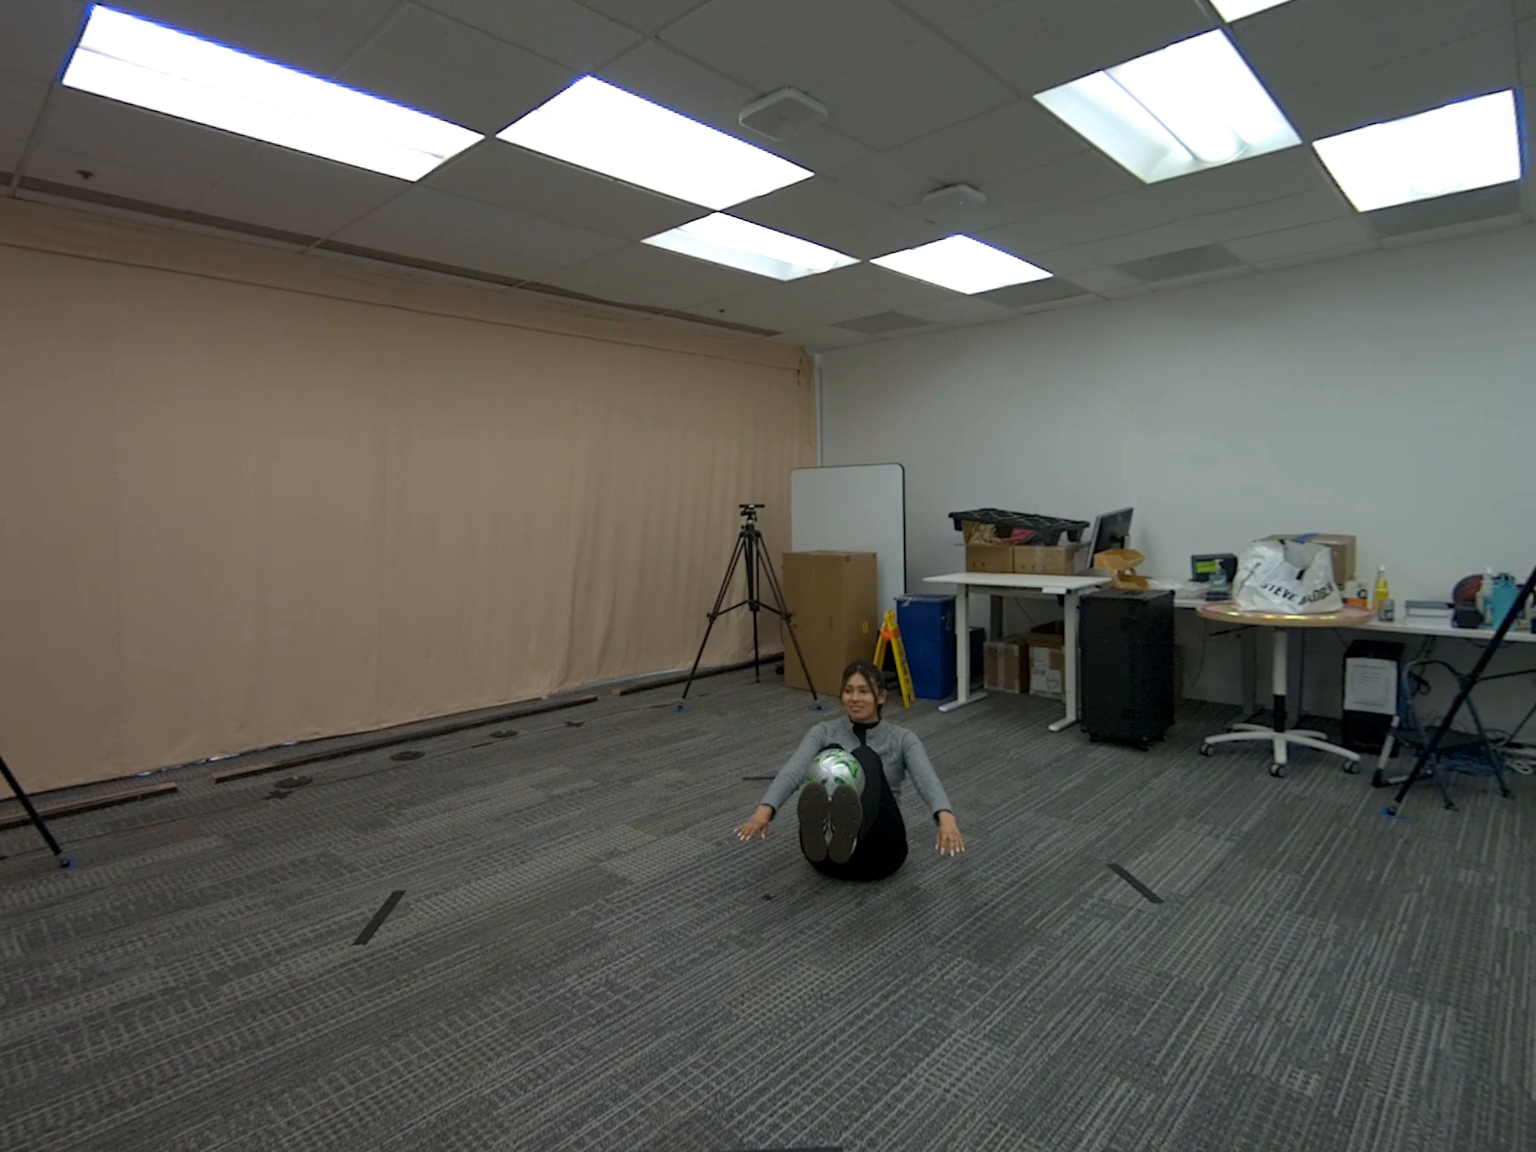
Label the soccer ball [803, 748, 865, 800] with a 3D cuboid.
[{"bbox_3d":[0.219,0.654,2.666,0.187,0.187,0.188,-1,4,-2],"label":"soccer ball"}]
